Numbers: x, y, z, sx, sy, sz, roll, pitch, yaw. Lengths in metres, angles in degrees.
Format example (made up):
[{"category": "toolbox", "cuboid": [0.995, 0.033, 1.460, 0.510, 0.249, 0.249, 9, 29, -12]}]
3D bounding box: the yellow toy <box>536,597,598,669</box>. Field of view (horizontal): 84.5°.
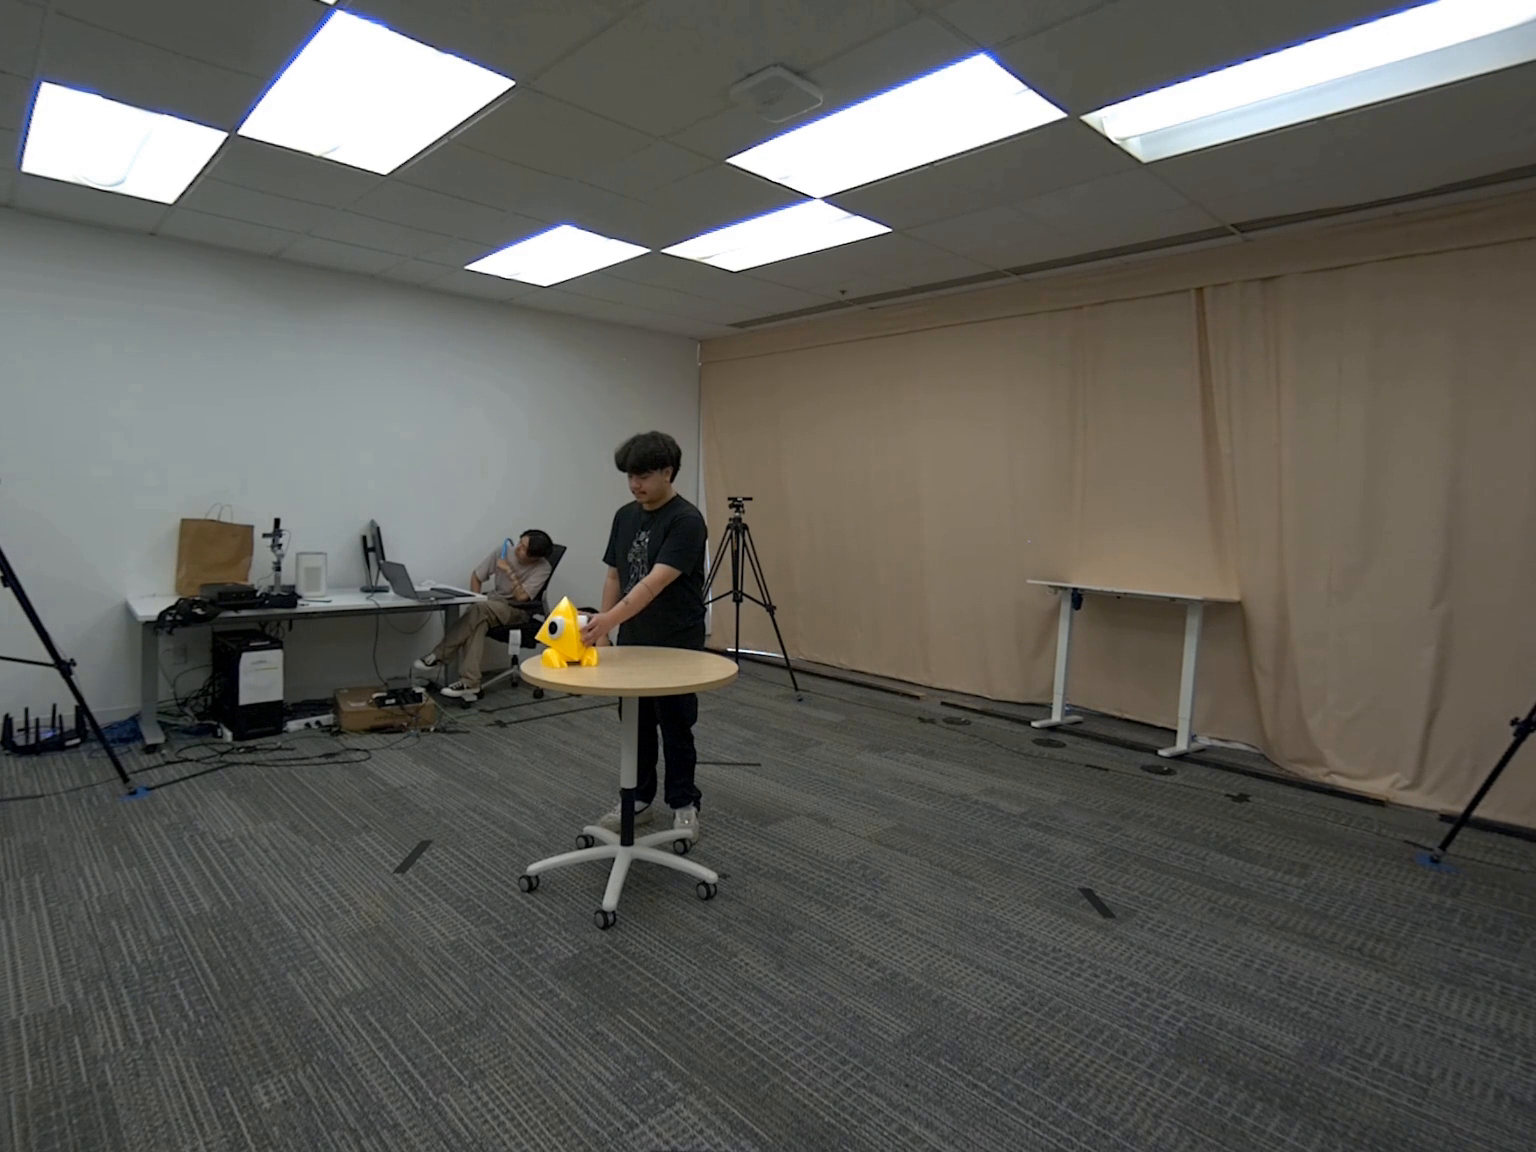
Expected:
[{"category": "yellow toy", "cuboid": [-0.725, 0.197, 2.993, 0.201, 0.230, 0.197, 1, 5, -28]}]
